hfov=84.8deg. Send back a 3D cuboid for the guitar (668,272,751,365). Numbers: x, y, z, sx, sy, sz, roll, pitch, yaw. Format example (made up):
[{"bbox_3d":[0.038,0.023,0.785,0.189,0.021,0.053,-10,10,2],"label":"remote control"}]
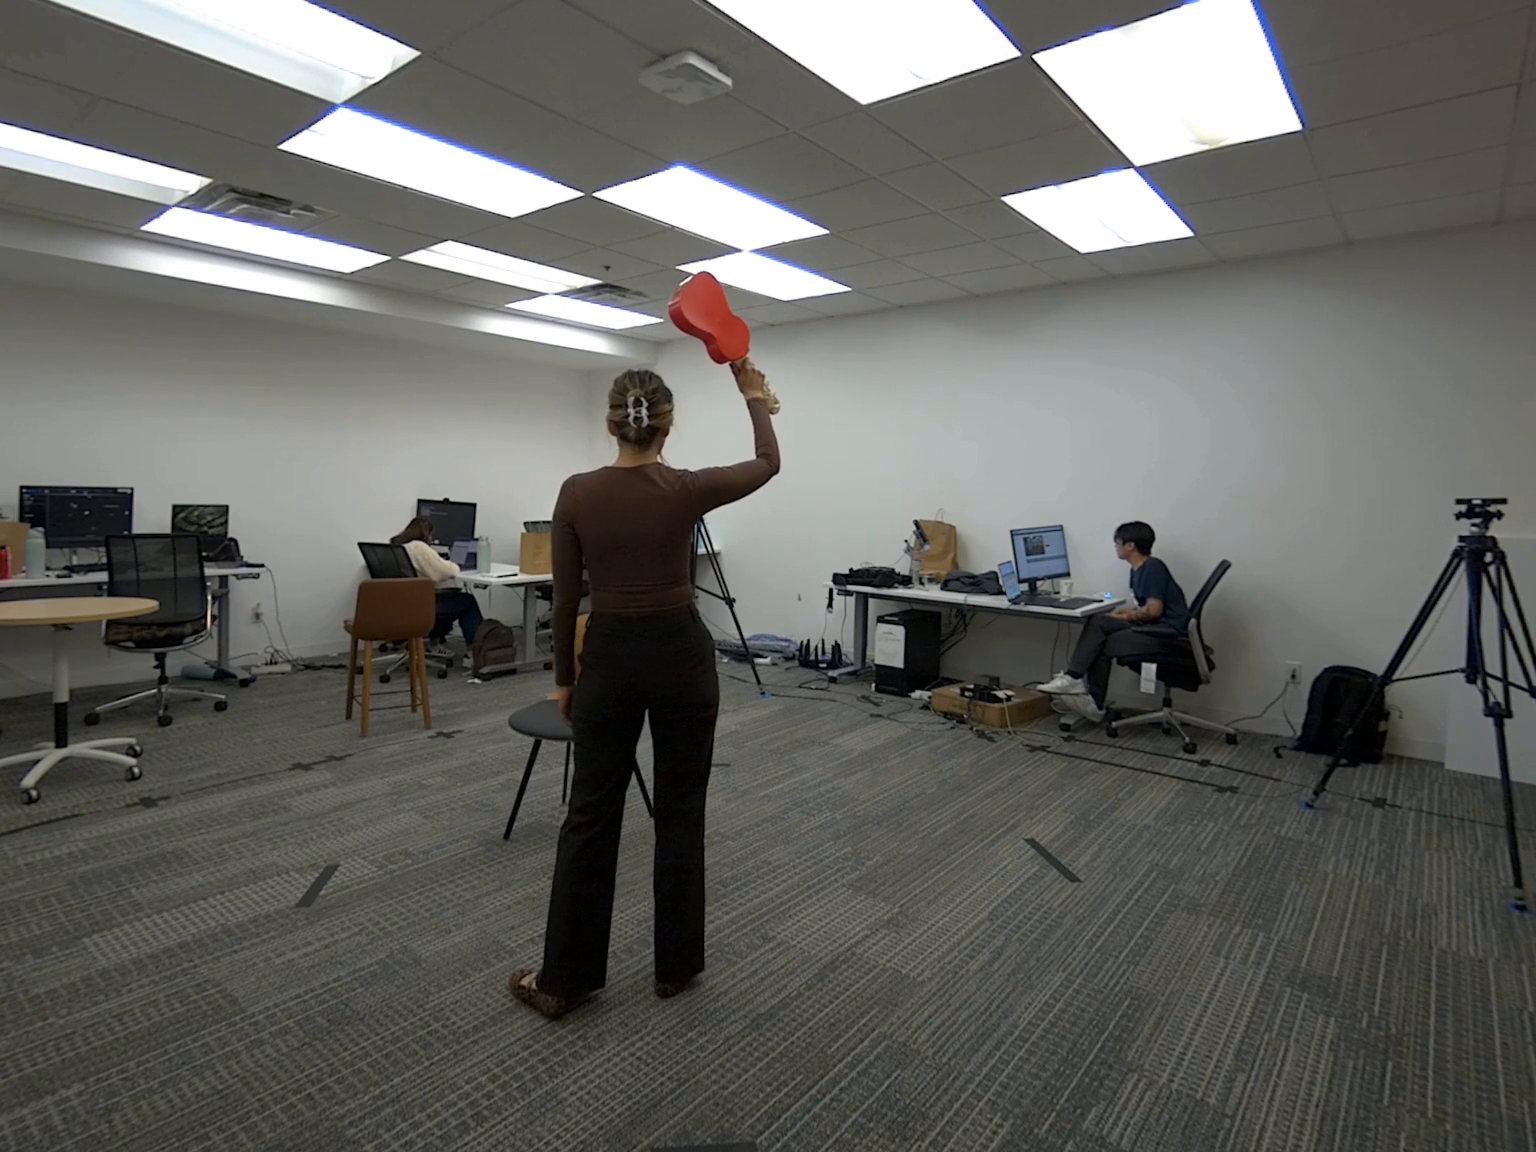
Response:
[{"bbox_3d":[-0.100,-0.705,2.570,0.072,0.195,0.479,-12,-41,46],"label":"guitar"}]
